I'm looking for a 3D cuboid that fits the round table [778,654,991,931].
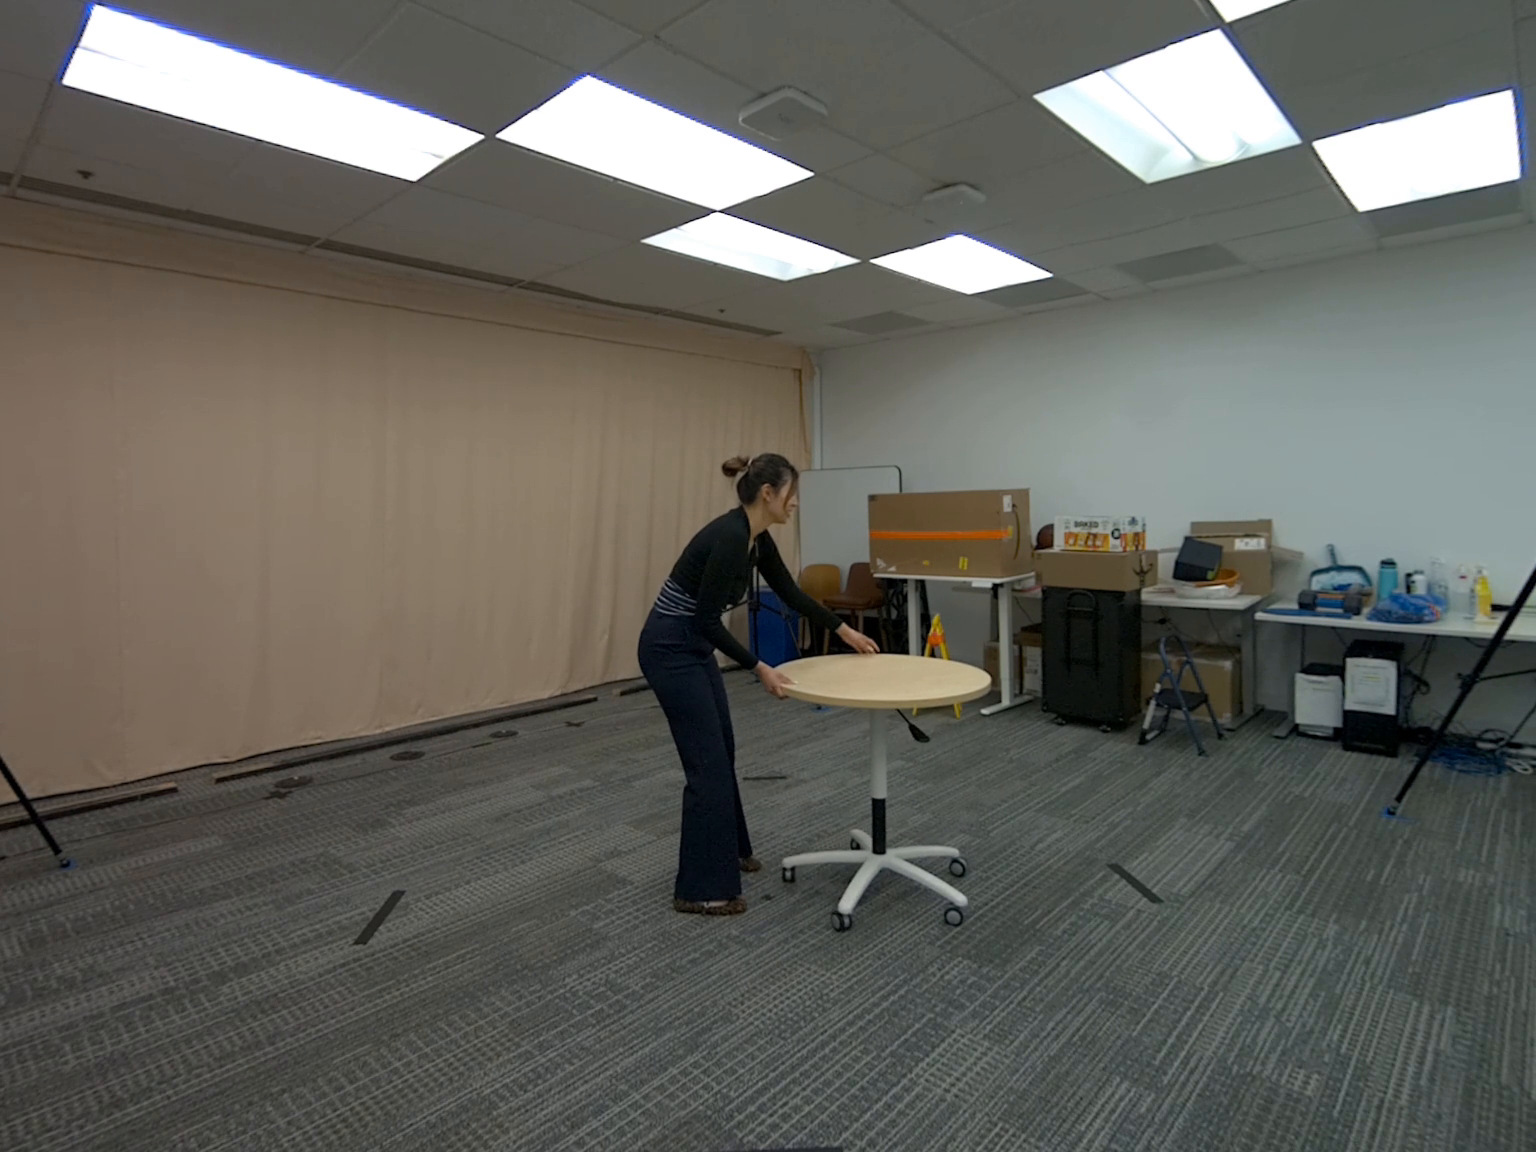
[{"bbox_3d":[0.398,0.743,2.995,0.763,0.792,0.767,-1,4,-2],"label":"round table"}]
